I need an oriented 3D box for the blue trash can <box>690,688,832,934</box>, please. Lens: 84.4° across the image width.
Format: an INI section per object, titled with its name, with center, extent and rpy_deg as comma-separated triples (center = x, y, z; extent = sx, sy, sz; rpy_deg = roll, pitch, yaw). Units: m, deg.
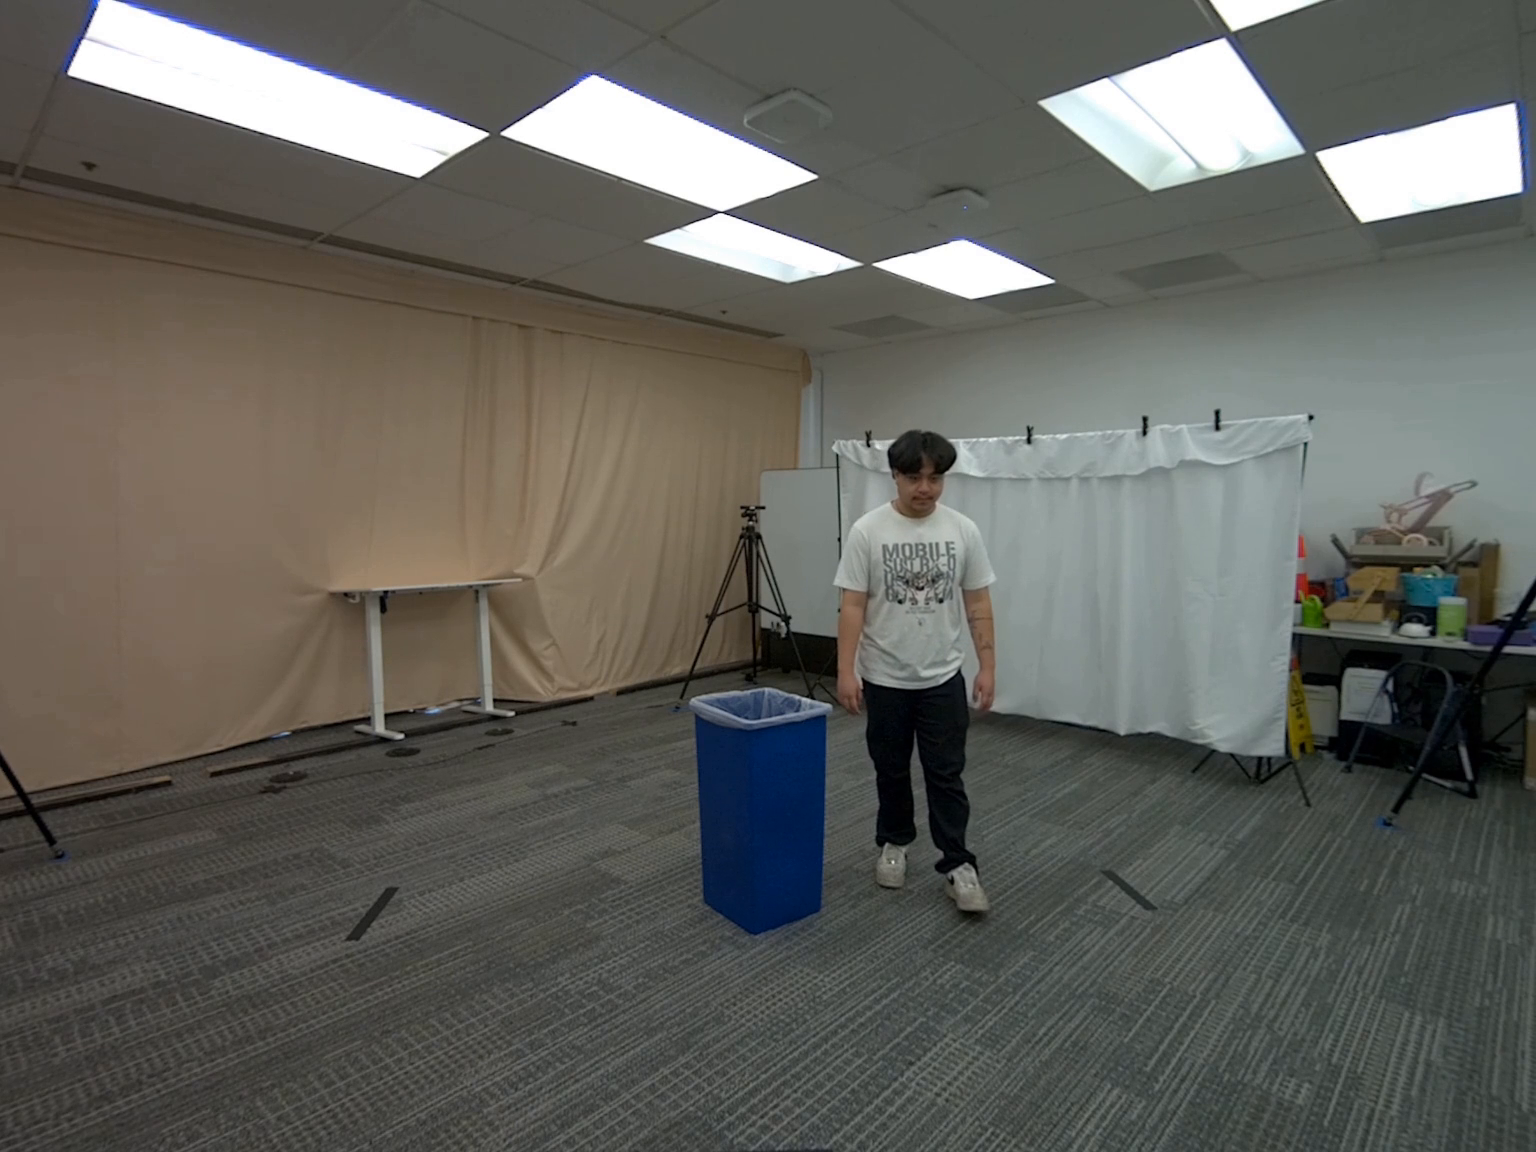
[blue trash can]
center = -0.024, 0.791, 2.907
extent = 0.363, 0.712, 0.390
rpy_deg = -2, 3, -38
